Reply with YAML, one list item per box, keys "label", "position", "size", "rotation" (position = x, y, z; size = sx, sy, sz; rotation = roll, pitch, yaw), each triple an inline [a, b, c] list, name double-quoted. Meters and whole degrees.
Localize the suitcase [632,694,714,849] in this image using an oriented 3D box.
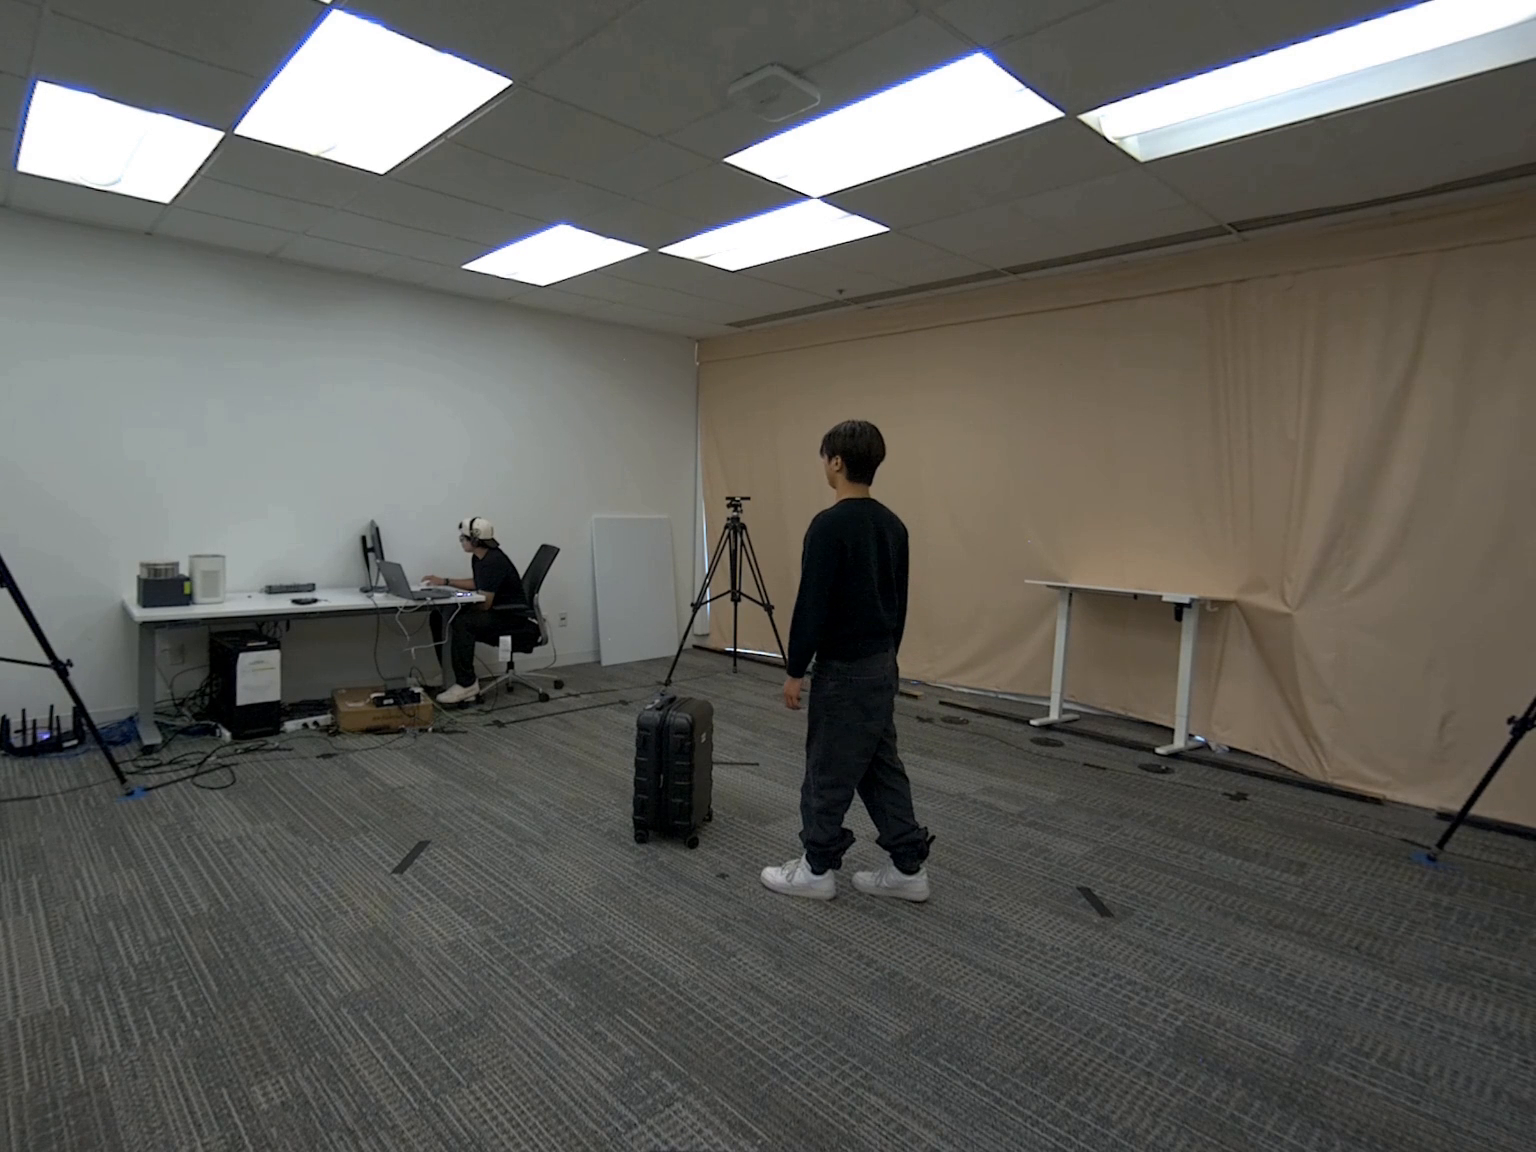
- label: "suitcase"
  position: [-0.394, 0.789, 3.502]
  size: [0.251, 0.548, 0.372]
  rotation: [3, 3, 12]
